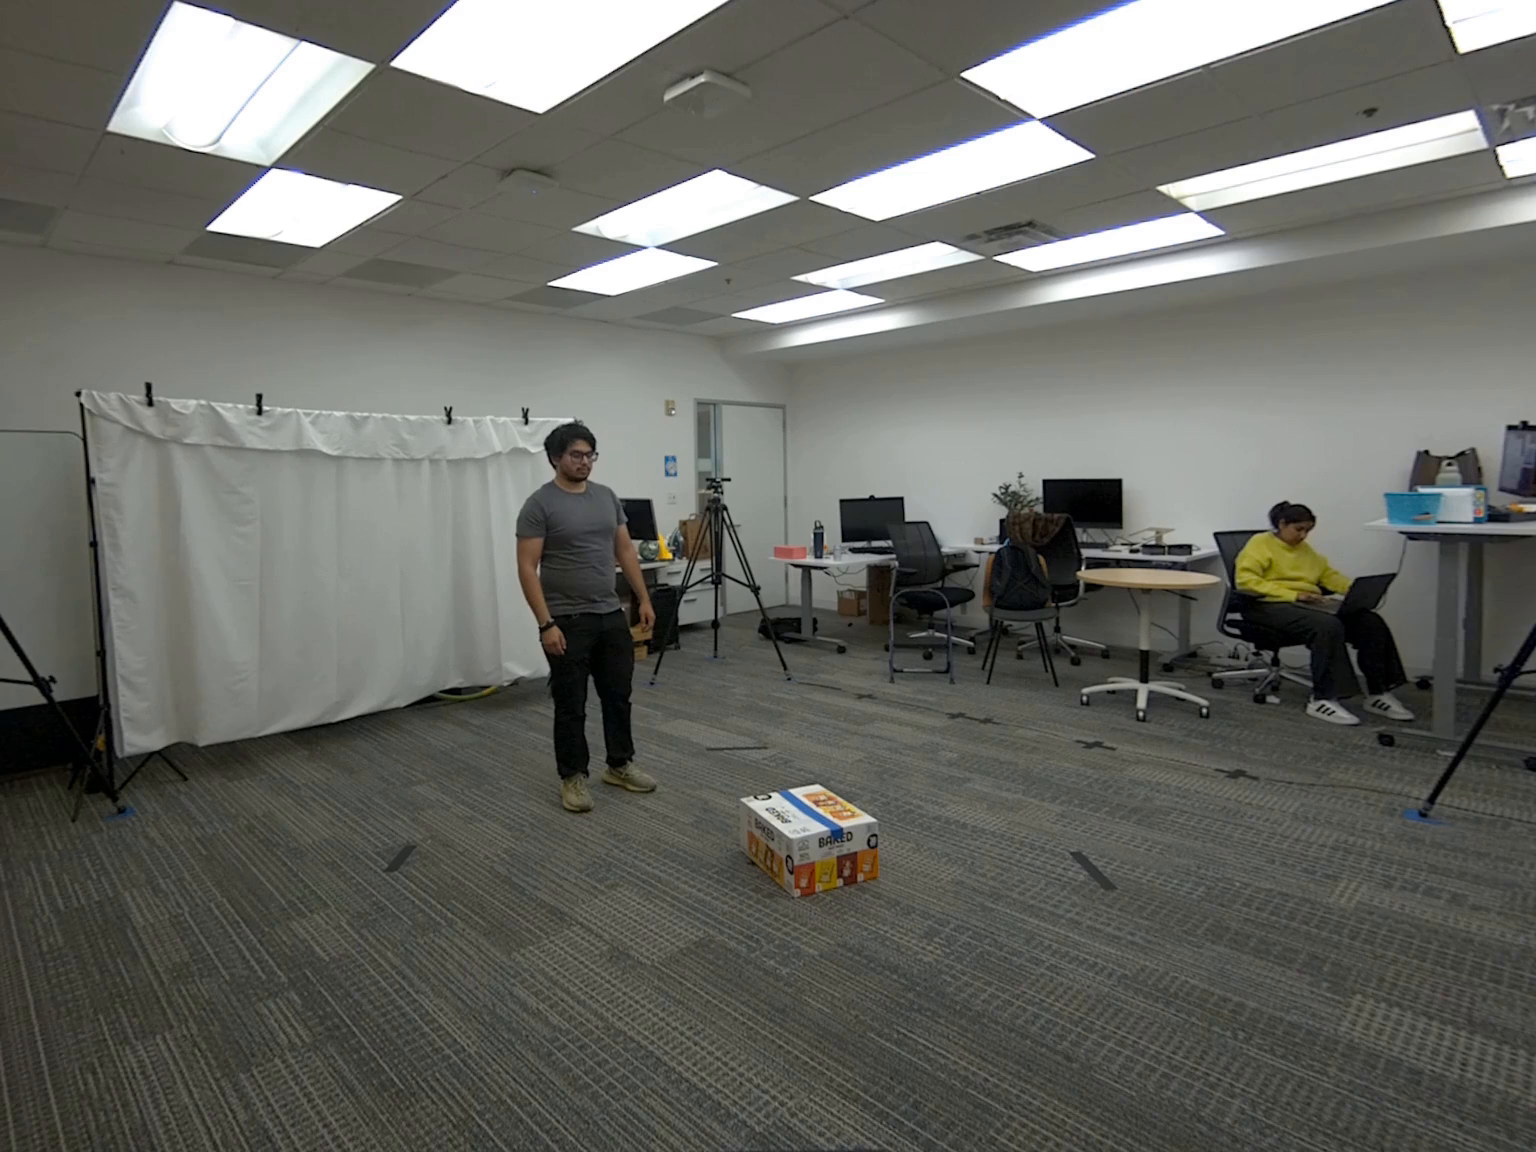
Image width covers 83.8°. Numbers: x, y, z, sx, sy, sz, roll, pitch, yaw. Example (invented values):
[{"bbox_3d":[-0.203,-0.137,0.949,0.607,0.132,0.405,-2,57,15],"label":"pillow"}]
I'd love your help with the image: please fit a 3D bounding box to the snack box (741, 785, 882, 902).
[{"bbox_3d":[0.146,0.943,3.079,0.333,0.205,0.416,-4,6,-26],"label":"snack box"}]
